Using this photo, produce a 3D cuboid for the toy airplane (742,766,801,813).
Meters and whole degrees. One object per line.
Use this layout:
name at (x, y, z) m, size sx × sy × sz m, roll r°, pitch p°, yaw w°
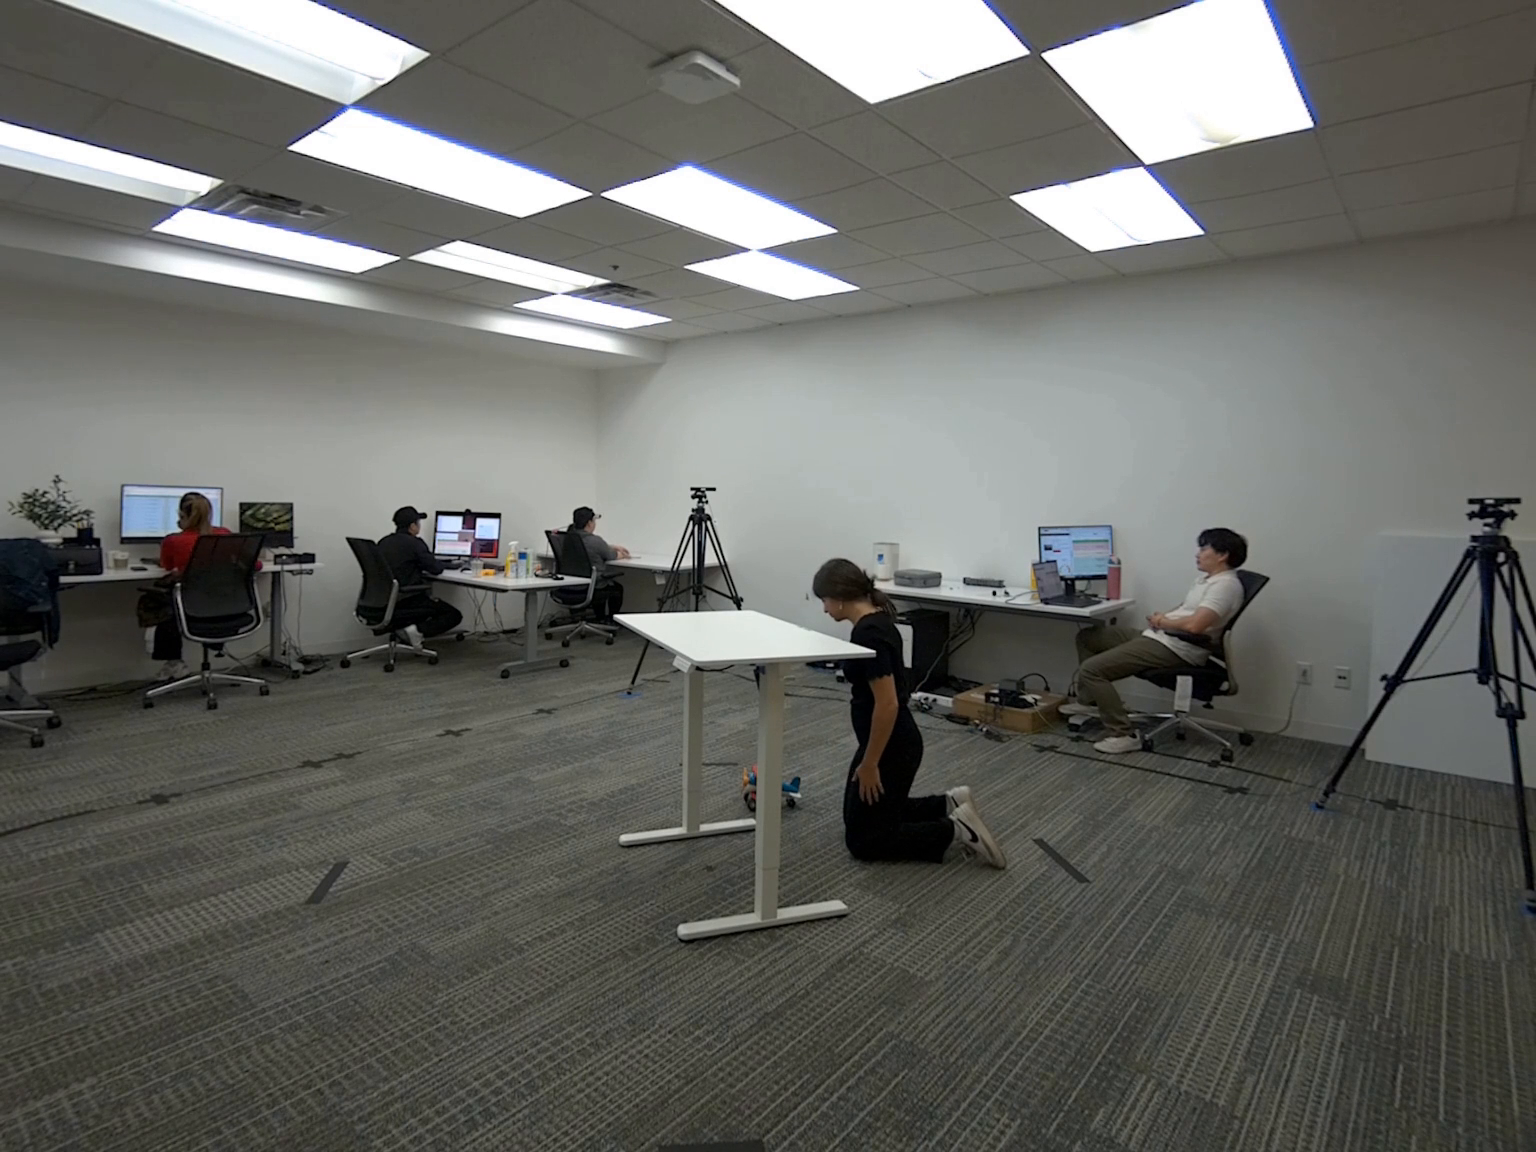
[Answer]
toy airplane at (-0.005, 0.933, 3.759) m, size 0.252 × 0.156 × 0.259 m, roll -4°, pitch 6°, yaw -37°
